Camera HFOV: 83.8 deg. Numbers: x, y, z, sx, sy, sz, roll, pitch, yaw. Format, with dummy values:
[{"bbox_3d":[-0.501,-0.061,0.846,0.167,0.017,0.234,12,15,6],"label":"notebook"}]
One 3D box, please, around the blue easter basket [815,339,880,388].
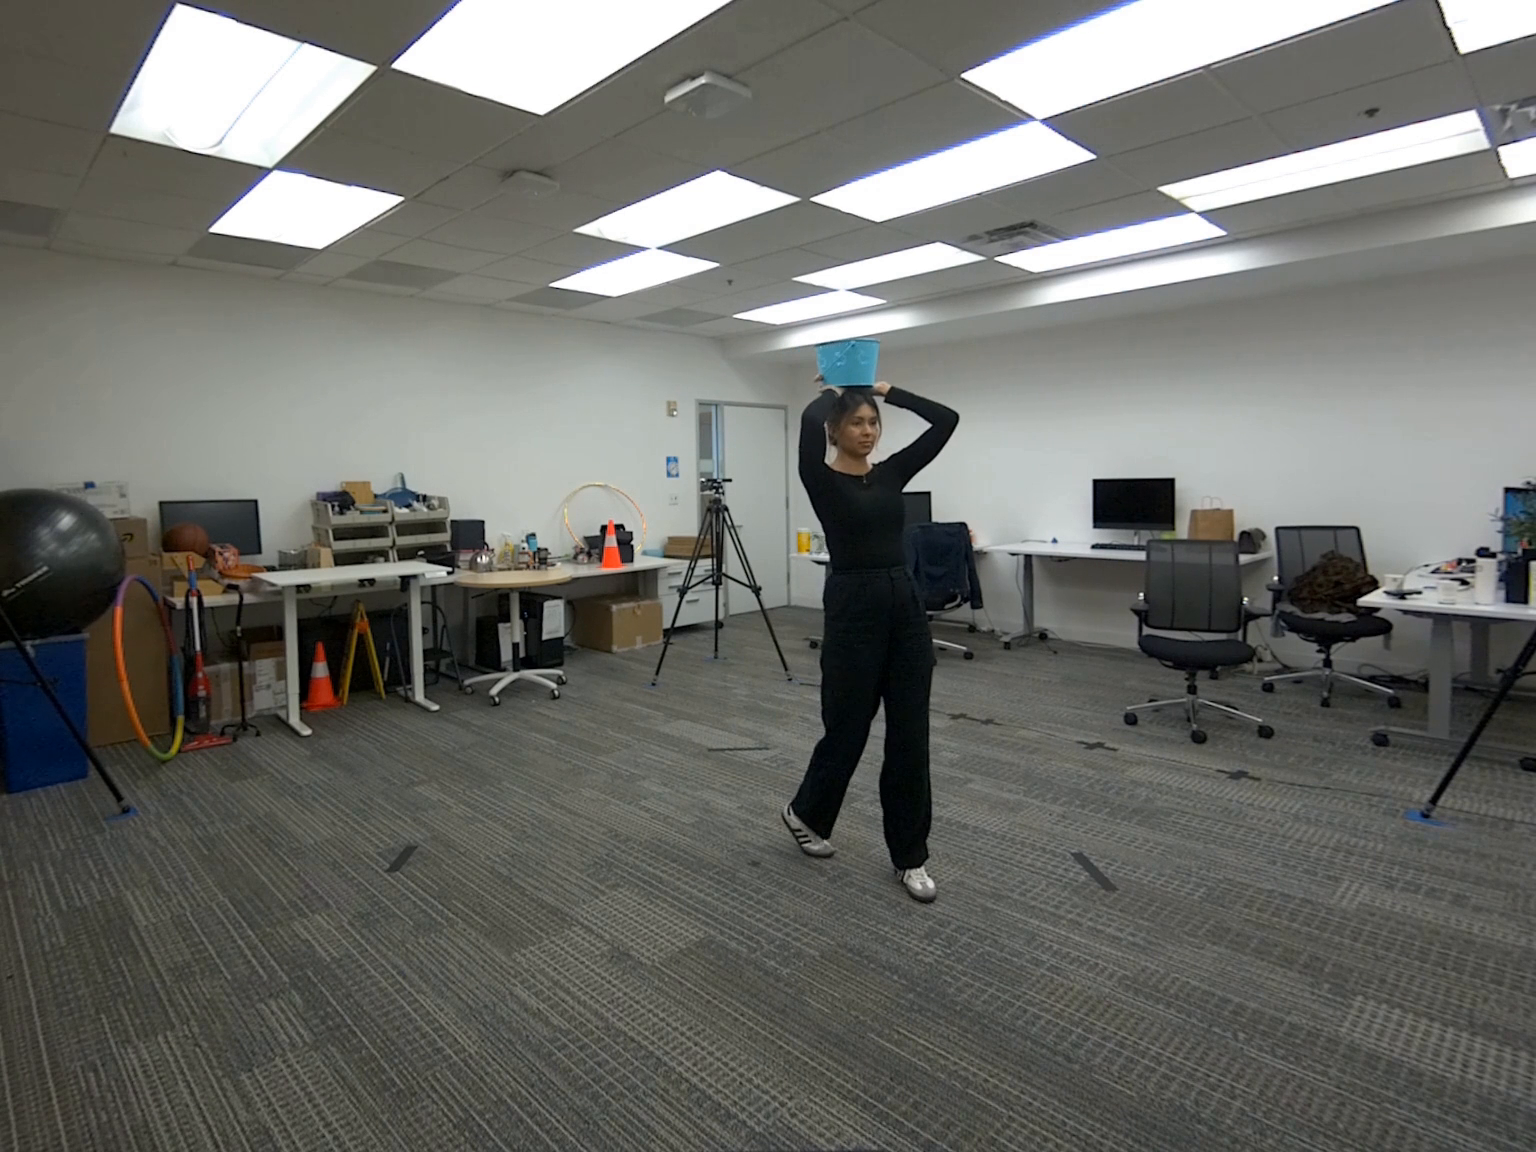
[{"bbox_3d":[0.275,-0.740,3.000,0.243,0.155,0.245,-3,8,-1],"label":"blue easter basket"}]
